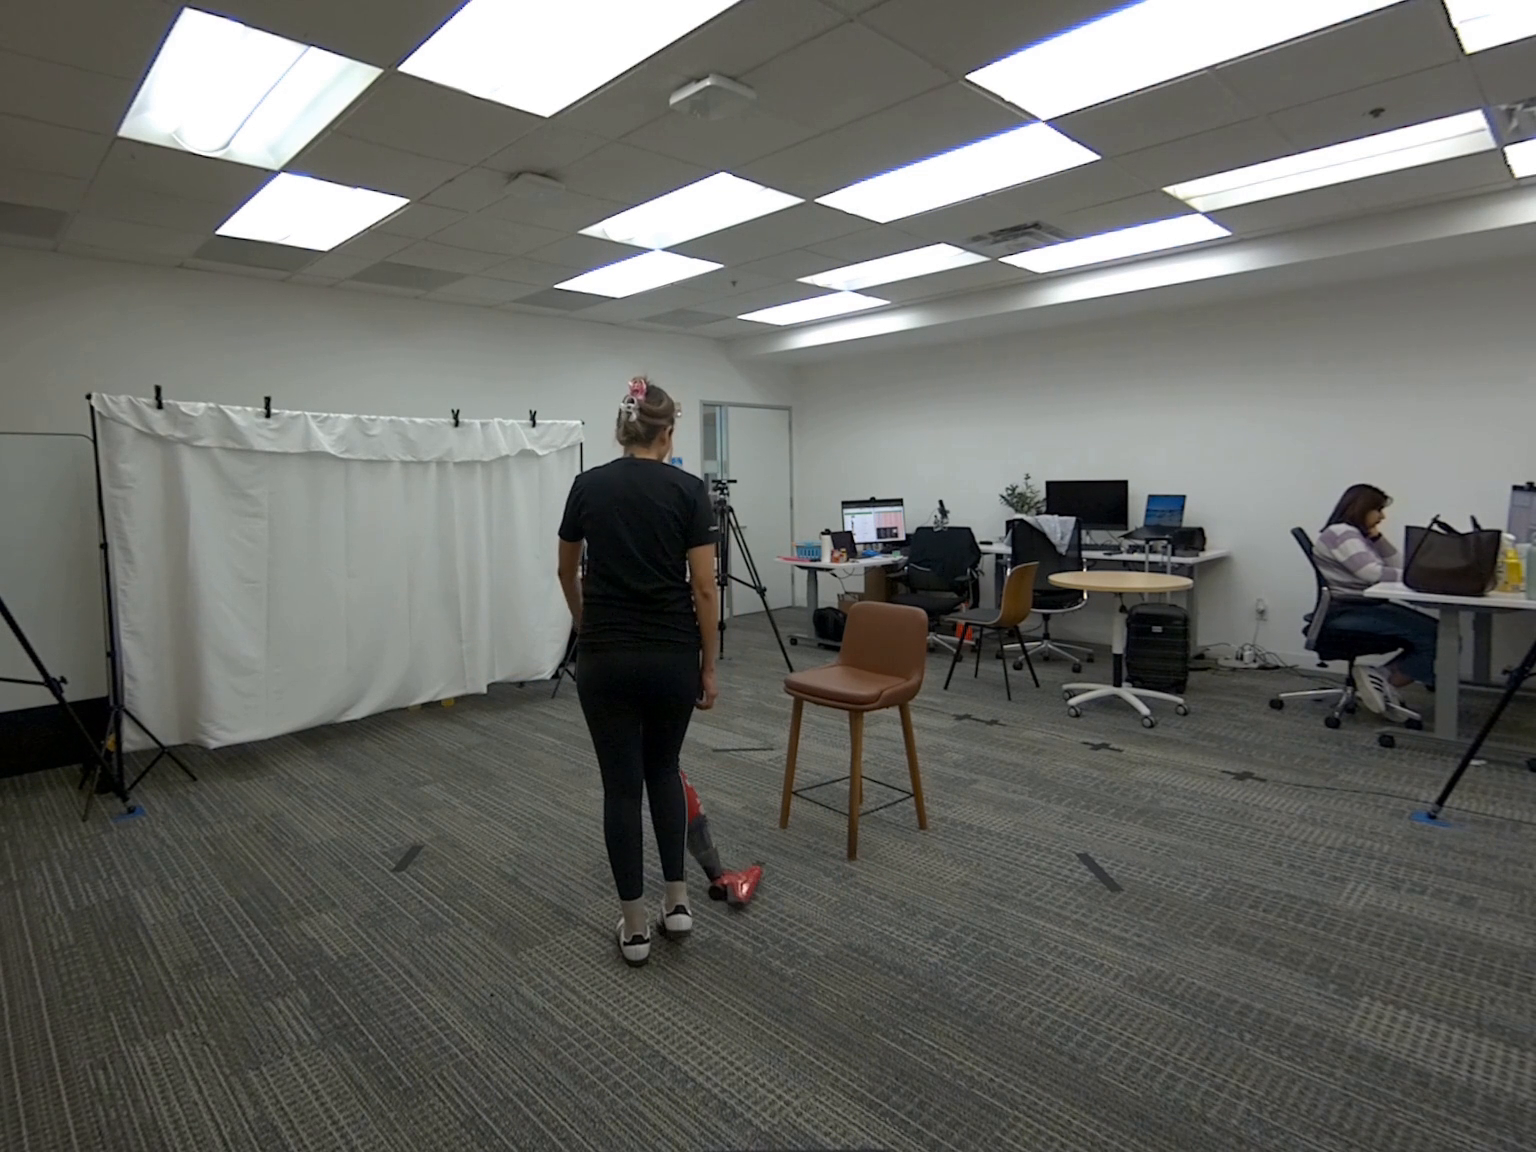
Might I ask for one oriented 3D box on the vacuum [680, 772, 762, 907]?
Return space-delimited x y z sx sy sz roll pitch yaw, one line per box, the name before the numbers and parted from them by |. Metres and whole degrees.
vacuum | -0.390 0.622 2.940 0.144 1.059 0.249 -35 -7 17
